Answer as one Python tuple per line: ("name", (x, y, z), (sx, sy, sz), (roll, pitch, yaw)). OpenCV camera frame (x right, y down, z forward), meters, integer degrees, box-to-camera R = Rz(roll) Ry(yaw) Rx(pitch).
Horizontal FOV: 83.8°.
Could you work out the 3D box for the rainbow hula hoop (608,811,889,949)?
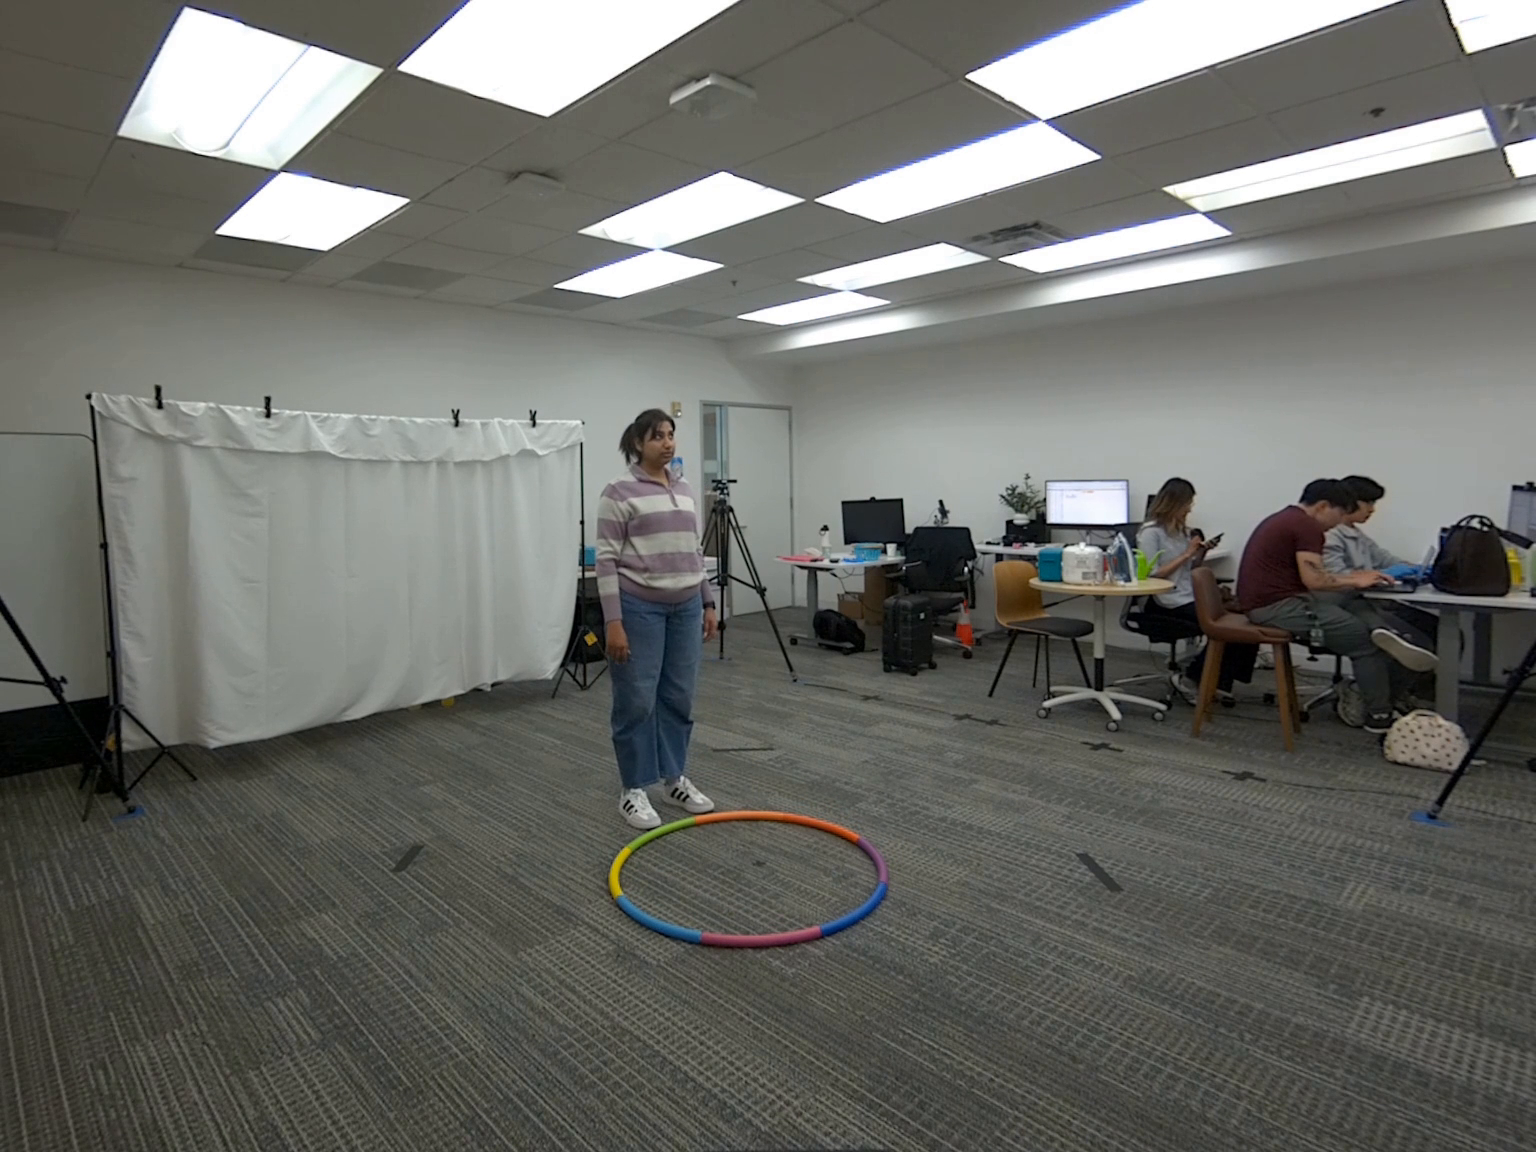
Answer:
("rainbow hula hoop", (-0.075, 1.029, 3.035), (0.985, 0.051, 0.991), (-1, 6, -2))
